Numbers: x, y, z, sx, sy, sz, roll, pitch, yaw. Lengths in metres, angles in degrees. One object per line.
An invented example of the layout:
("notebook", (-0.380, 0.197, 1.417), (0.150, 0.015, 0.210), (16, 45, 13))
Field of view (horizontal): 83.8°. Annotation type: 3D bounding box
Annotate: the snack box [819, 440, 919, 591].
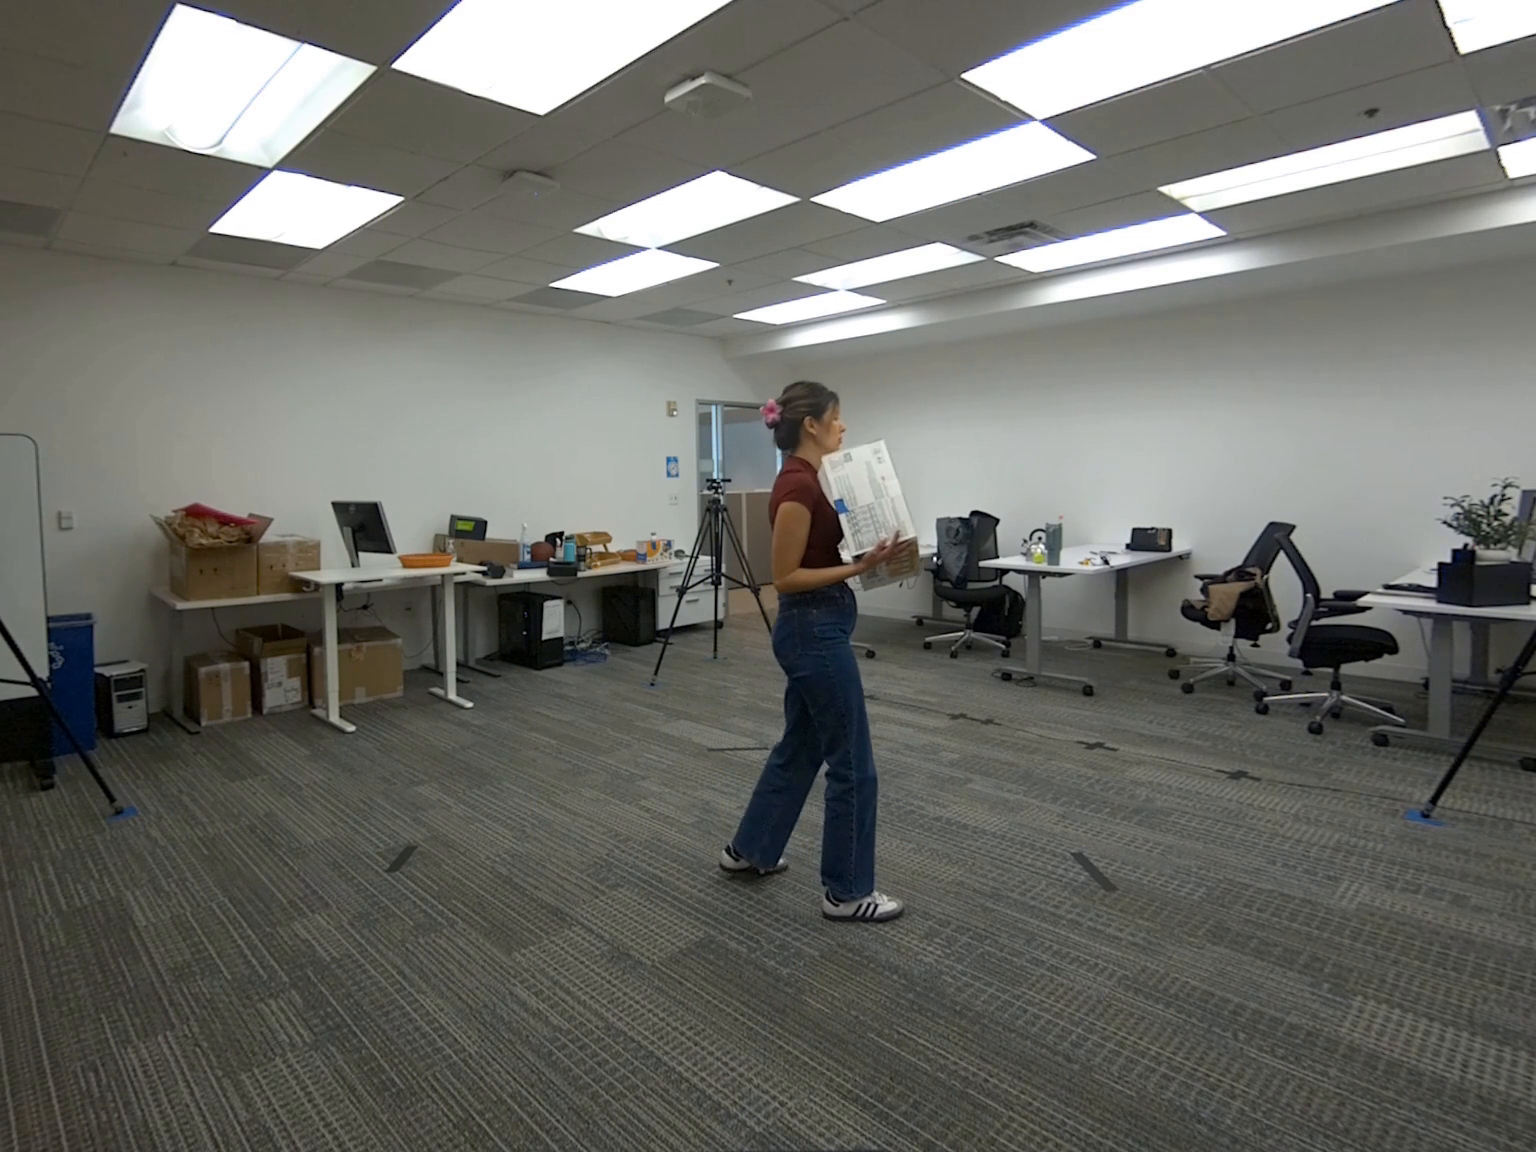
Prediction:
("snack box", (0.332, -0.184, 2.740), (0.207, 0.348, 0.394), (-17, -20, 6))
